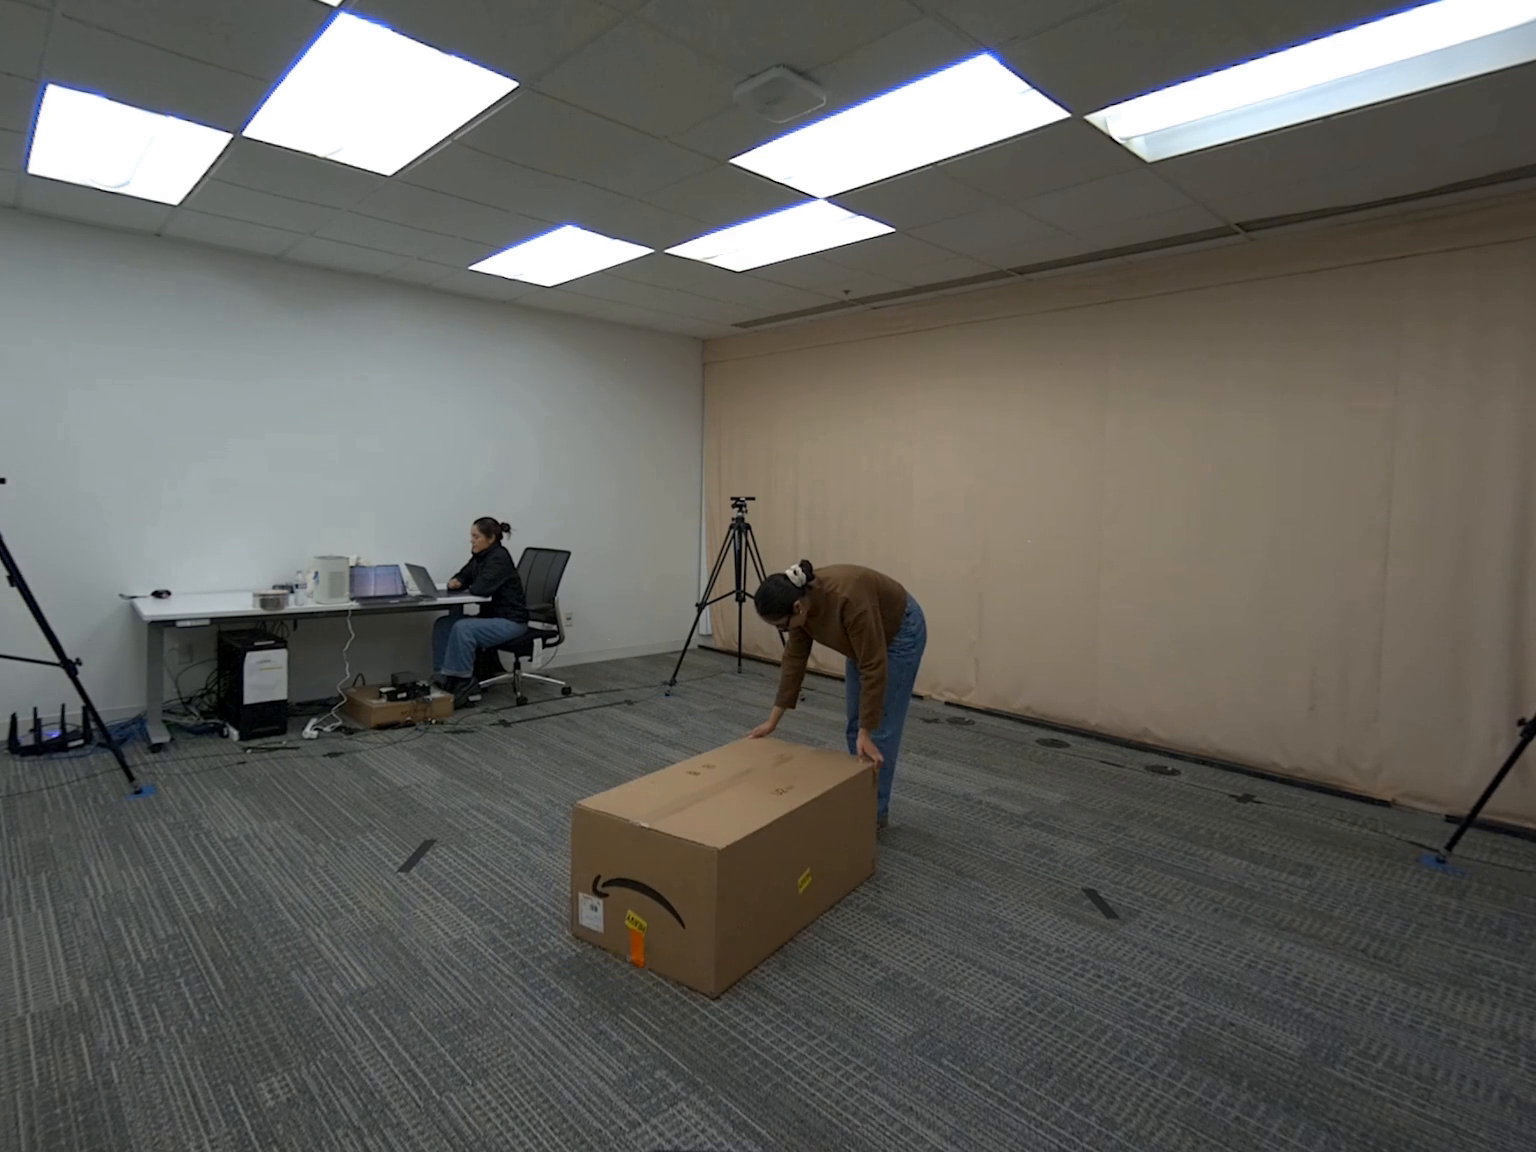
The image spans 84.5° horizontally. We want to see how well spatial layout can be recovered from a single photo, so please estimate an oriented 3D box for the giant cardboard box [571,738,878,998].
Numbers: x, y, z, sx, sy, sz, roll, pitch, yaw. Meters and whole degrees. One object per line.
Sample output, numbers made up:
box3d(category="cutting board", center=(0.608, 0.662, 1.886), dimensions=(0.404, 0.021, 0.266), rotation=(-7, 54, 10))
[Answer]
box3d(category="giant cardboard box", center=(-0.112, 0.914, 2.892), dimensions=(0.598, 0.445, 1.006), rotation=(6, 7, 34))
